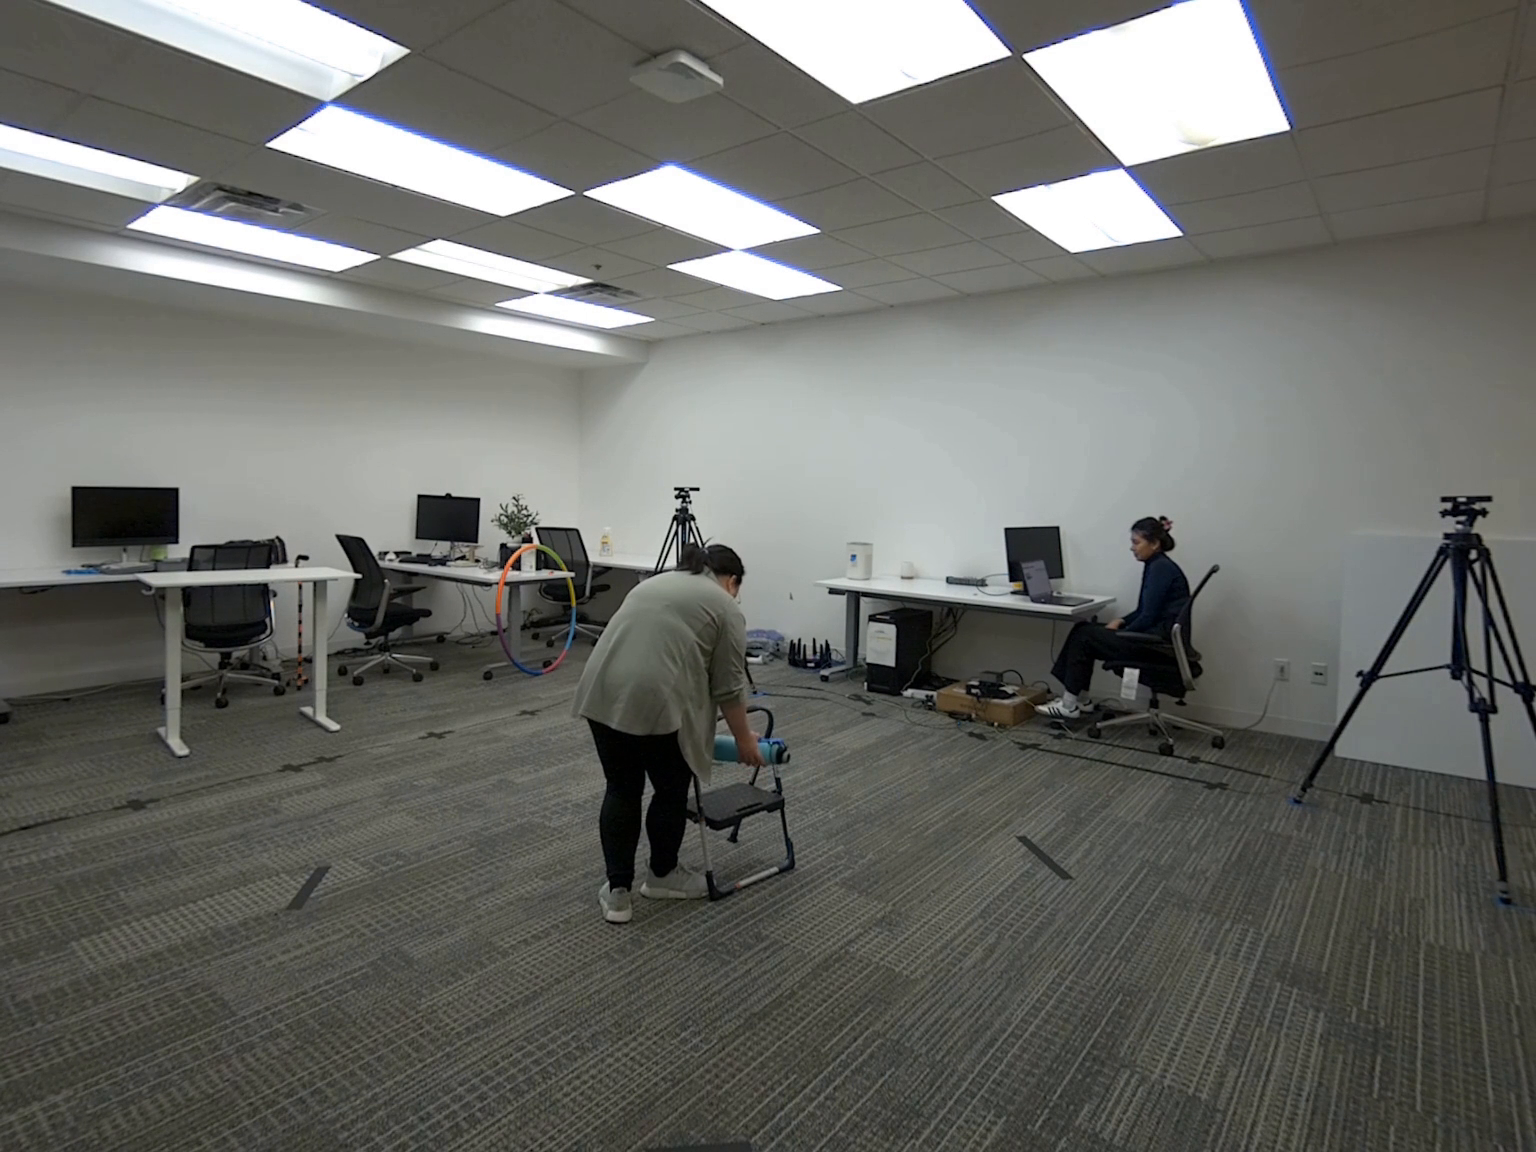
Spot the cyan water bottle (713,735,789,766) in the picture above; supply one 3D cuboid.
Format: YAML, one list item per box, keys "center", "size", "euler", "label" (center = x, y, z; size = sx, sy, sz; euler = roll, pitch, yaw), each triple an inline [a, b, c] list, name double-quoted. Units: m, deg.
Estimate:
- center: [-0.065, 0.612, 2.989]
  size: [0.290, 0.092, 0.090]
  euler: [-2, 3, 26]
  label: "cyan water bottle"
